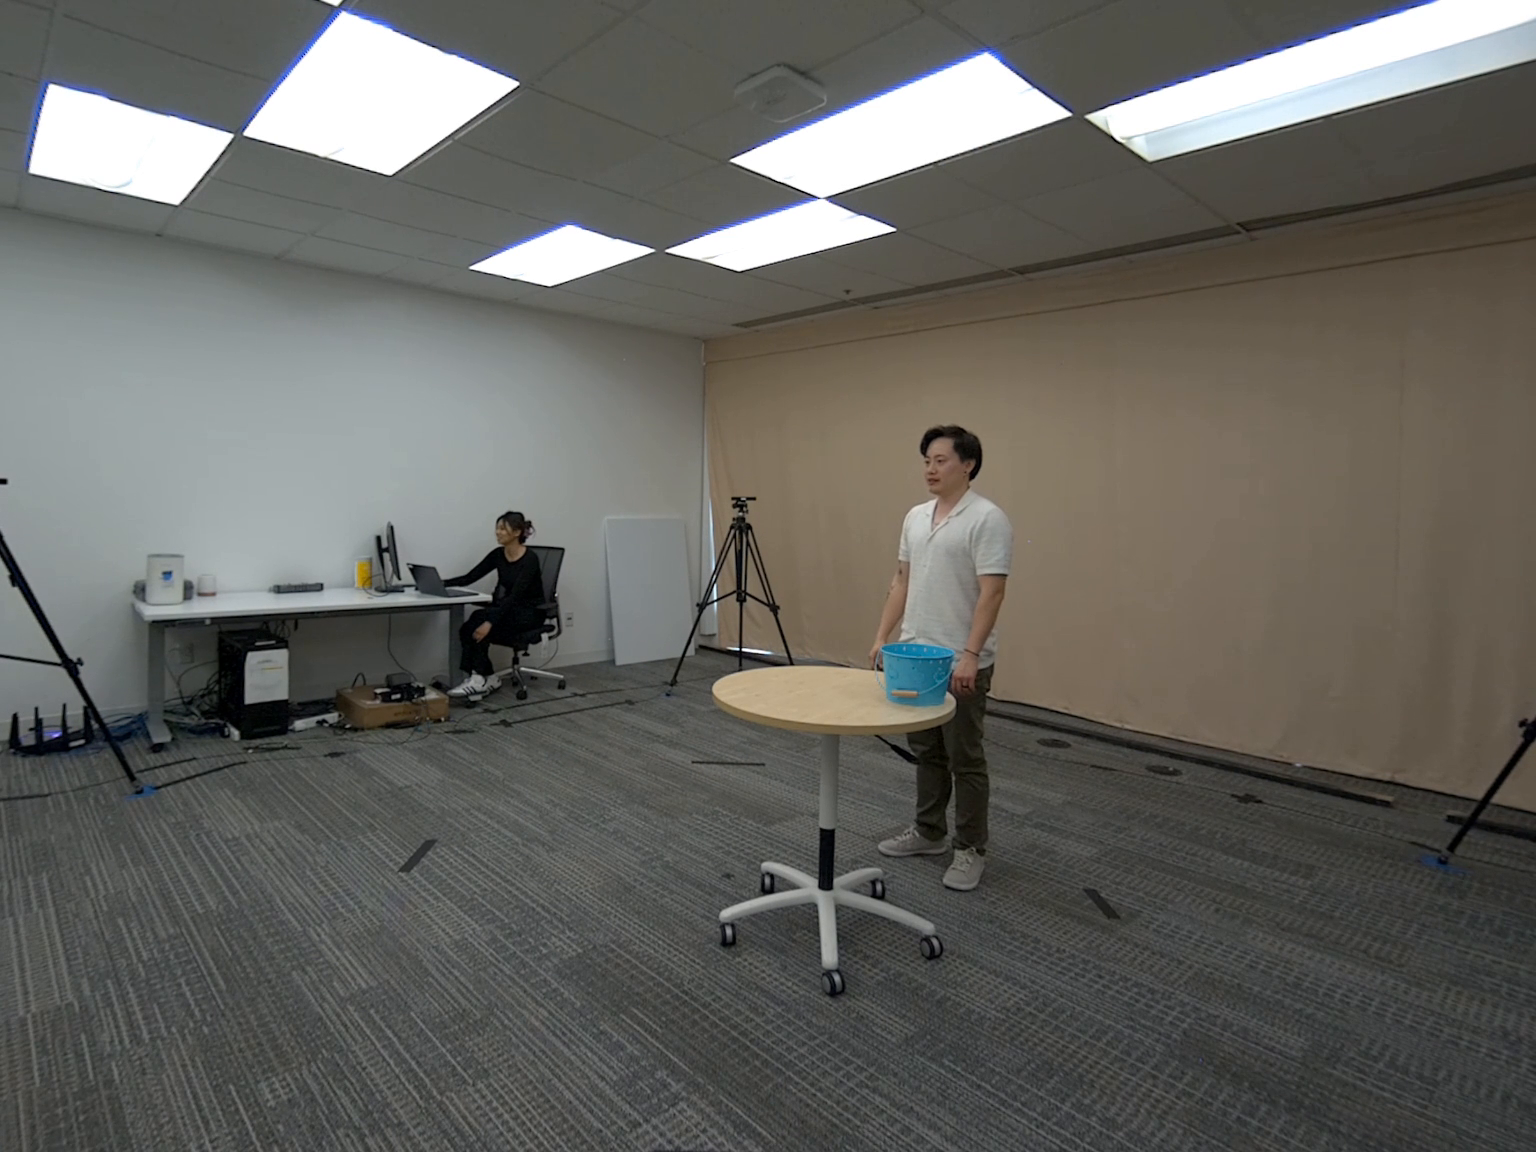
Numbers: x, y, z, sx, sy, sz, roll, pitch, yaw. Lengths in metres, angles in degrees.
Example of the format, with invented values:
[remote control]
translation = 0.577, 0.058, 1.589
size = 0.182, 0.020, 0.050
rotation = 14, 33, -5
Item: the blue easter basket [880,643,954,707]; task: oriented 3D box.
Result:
[blue easter basket]
translation = 0.458, 0.310, 2.621
size = 0.243, 0.155, 0.244
rotation = 2, 4, -2
